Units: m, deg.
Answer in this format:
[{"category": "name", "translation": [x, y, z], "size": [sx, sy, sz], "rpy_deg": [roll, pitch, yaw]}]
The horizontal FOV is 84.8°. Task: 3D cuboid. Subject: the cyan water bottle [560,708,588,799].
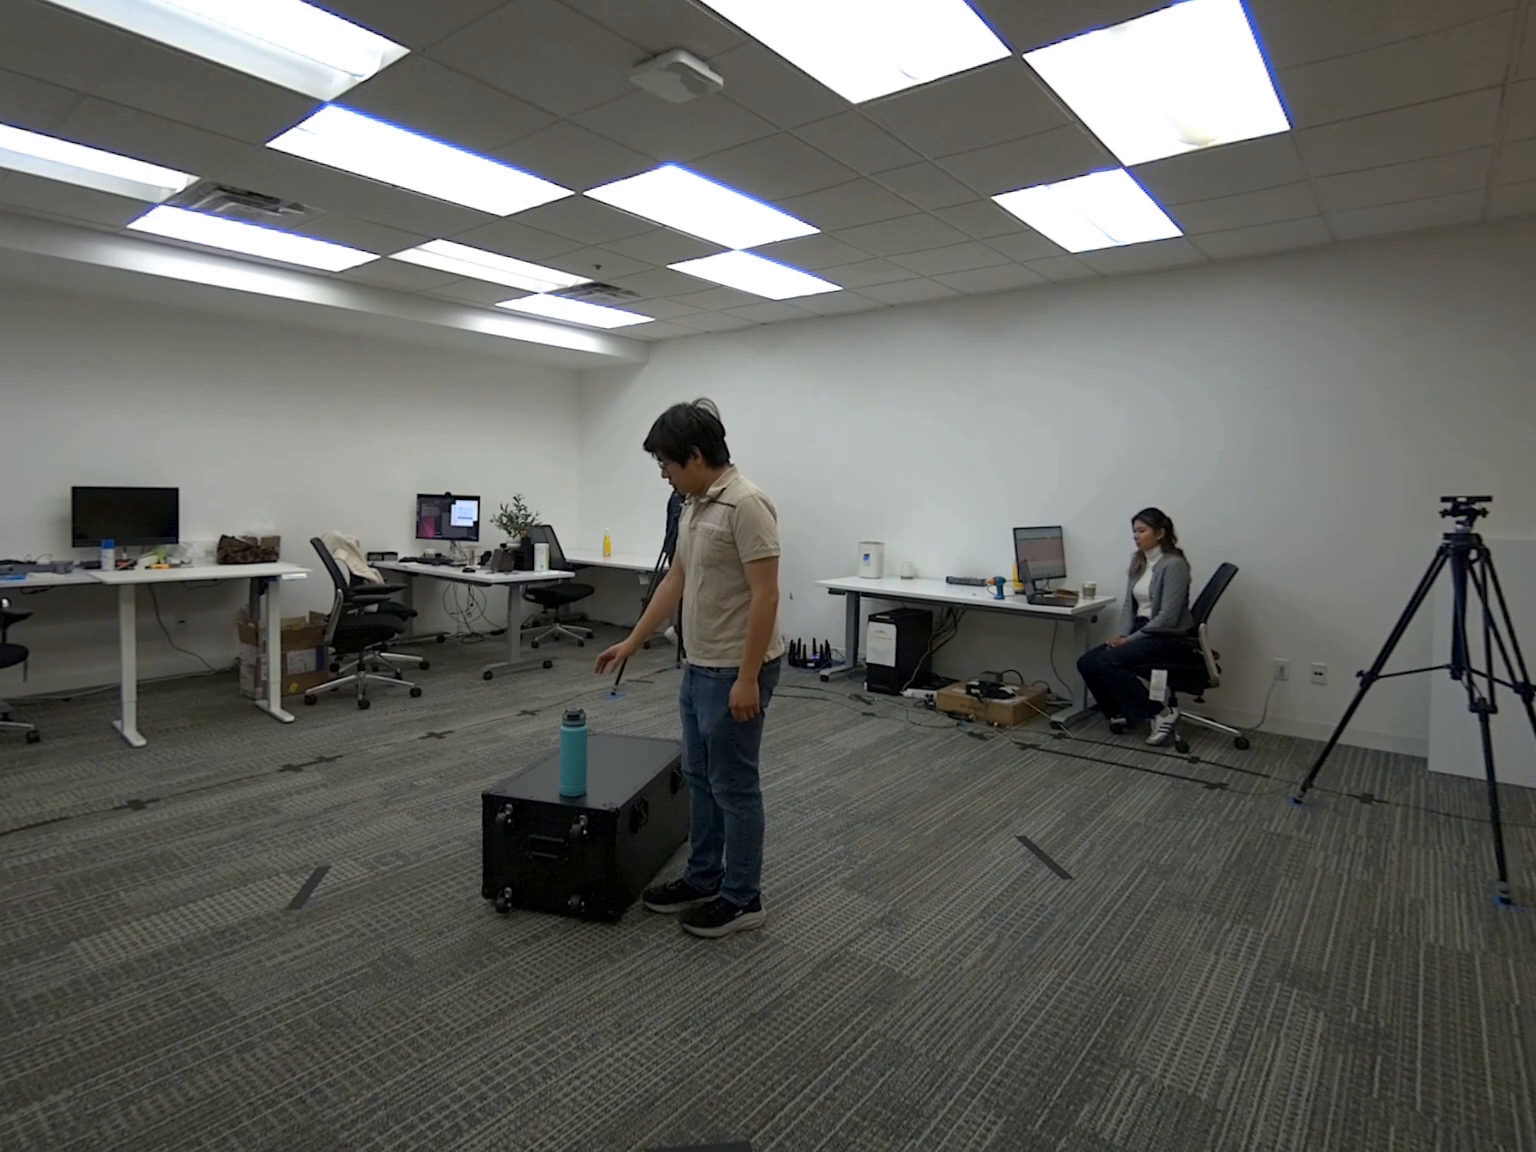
[{"category": "cyan water bottle", "translation": [-0.655, 0.575, 2.821], "size": [0.092, 0.283, 0.092], "rpy_deg": [2, 2, -2]}]
